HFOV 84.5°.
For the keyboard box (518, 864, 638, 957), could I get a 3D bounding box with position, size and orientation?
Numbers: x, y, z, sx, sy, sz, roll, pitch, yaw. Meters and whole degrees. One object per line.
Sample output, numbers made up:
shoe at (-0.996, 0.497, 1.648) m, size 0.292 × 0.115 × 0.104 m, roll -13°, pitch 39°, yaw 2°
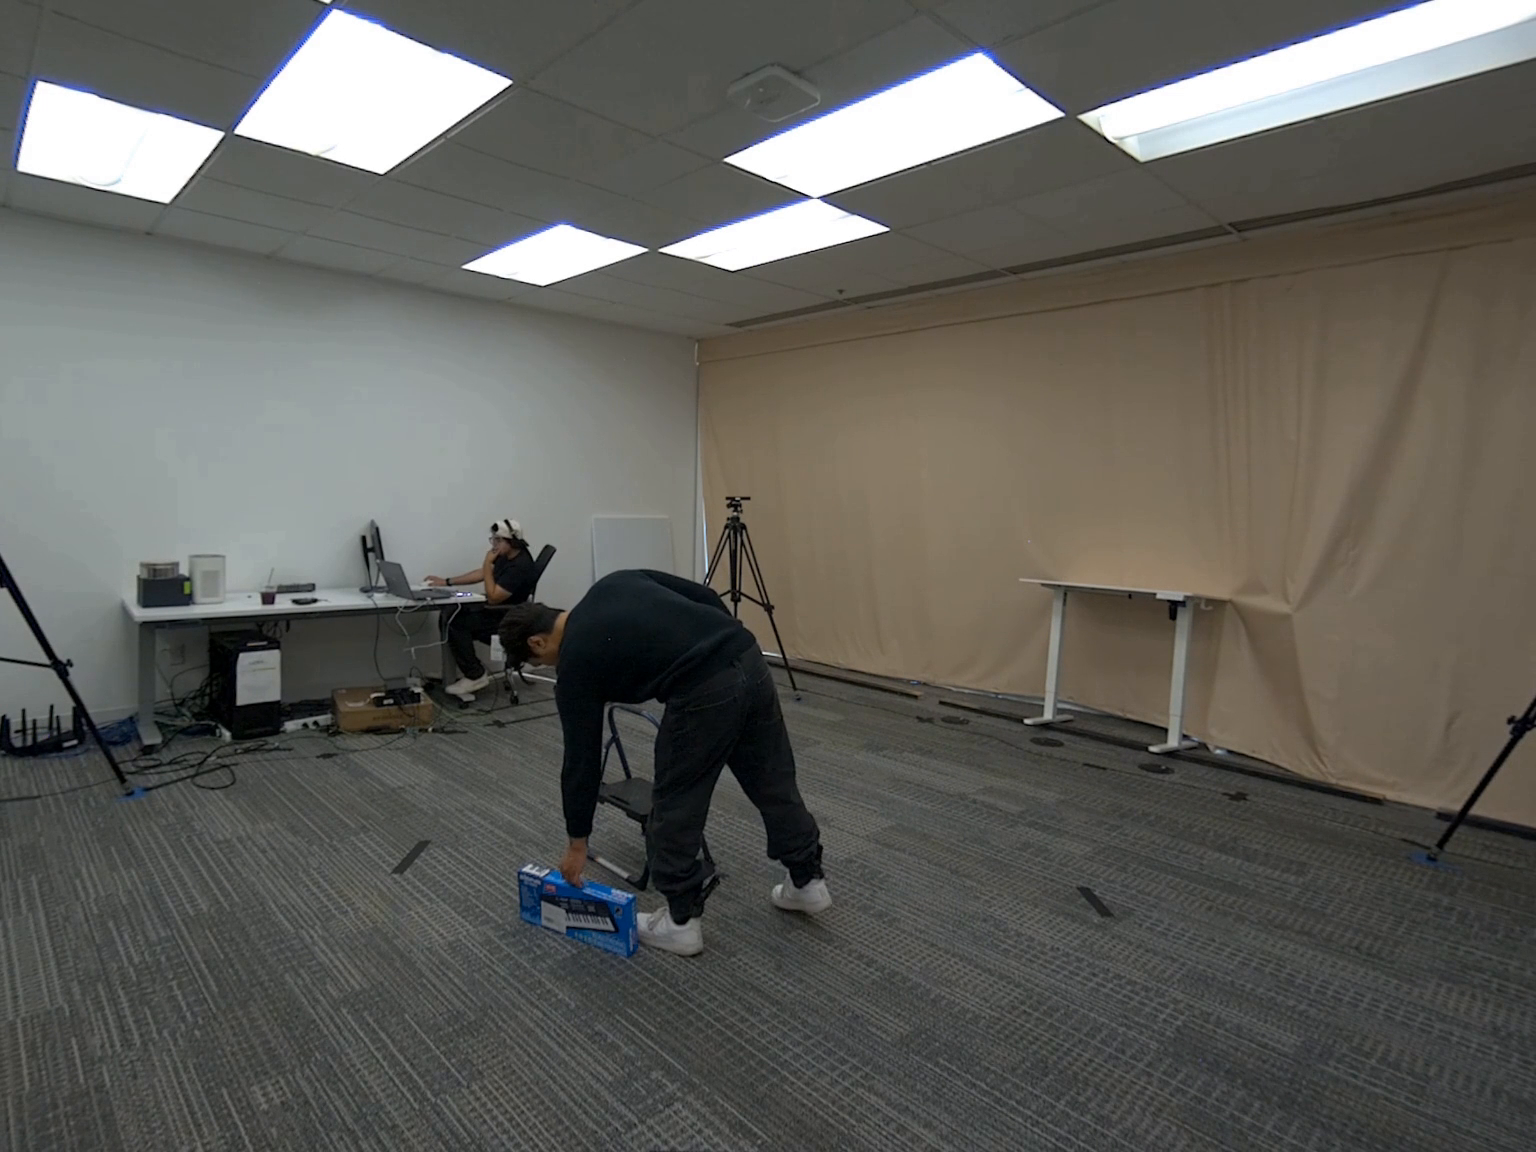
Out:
keyboard box at (-0.609, 1.043, 2.663) m, size 0.446 × 0.175 × 0.058 m, roll 3°, pitch 9°, yaw 29°
